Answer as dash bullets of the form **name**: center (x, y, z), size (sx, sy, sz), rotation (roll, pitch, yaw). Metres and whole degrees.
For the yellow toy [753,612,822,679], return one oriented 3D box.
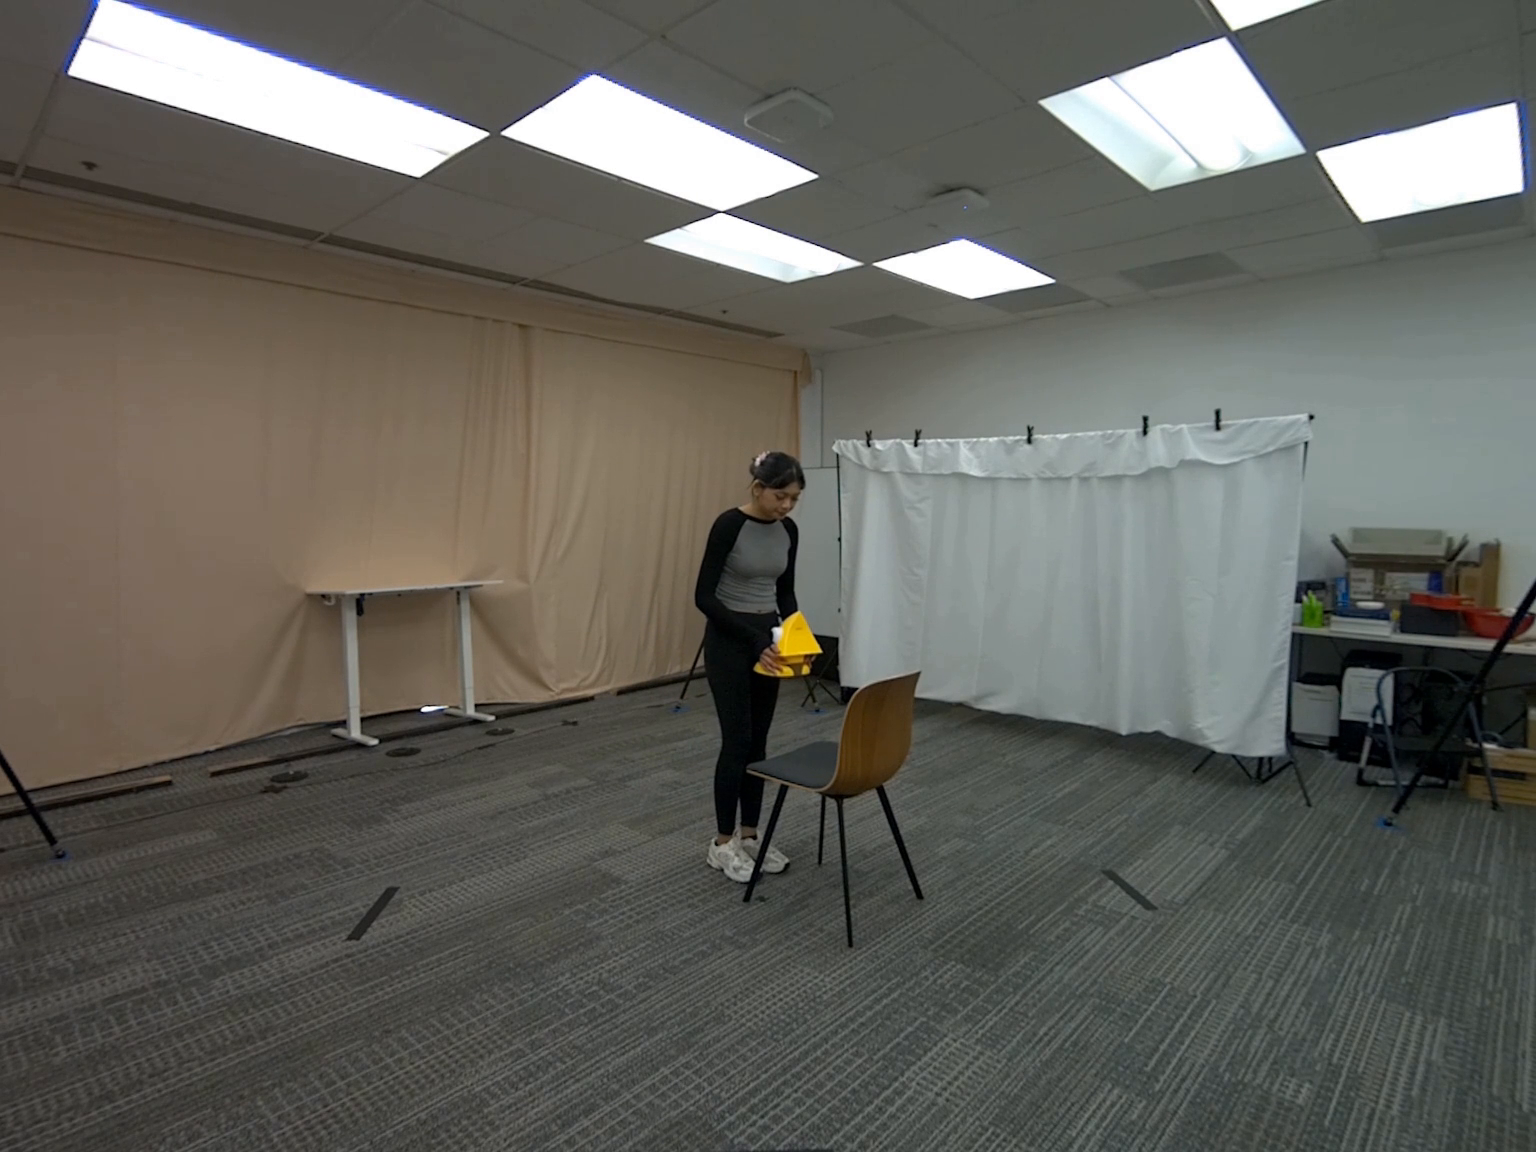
- **yellow toy**: center (0.071, 0.239, 3.082), size (0.199, 0.230, 0.198), rotation (6, 4, 45)
